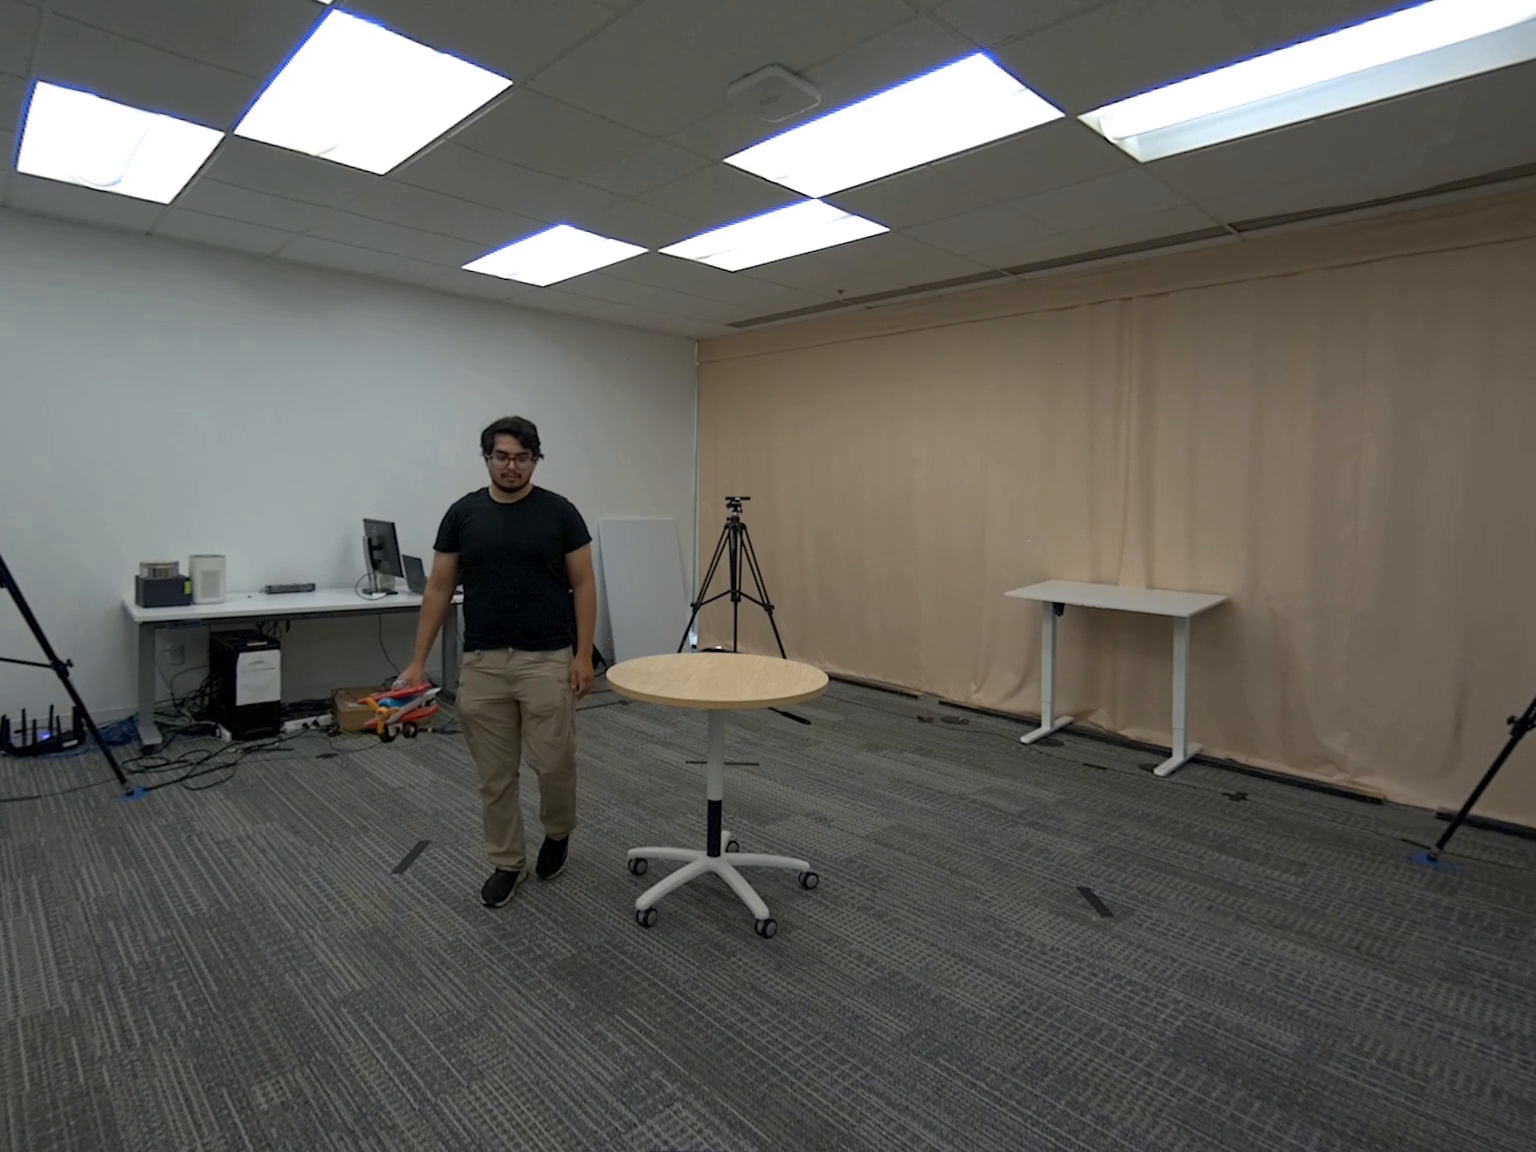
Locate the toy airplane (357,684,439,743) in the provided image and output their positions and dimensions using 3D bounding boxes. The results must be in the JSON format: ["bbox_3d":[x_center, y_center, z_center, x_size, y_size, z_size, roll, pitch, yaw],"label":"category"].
[{"bbox_3d":[-1.213,0.428,2.763,0.249,0.154,0.265,-22,21,-12],"label":"toy airplane"}]
